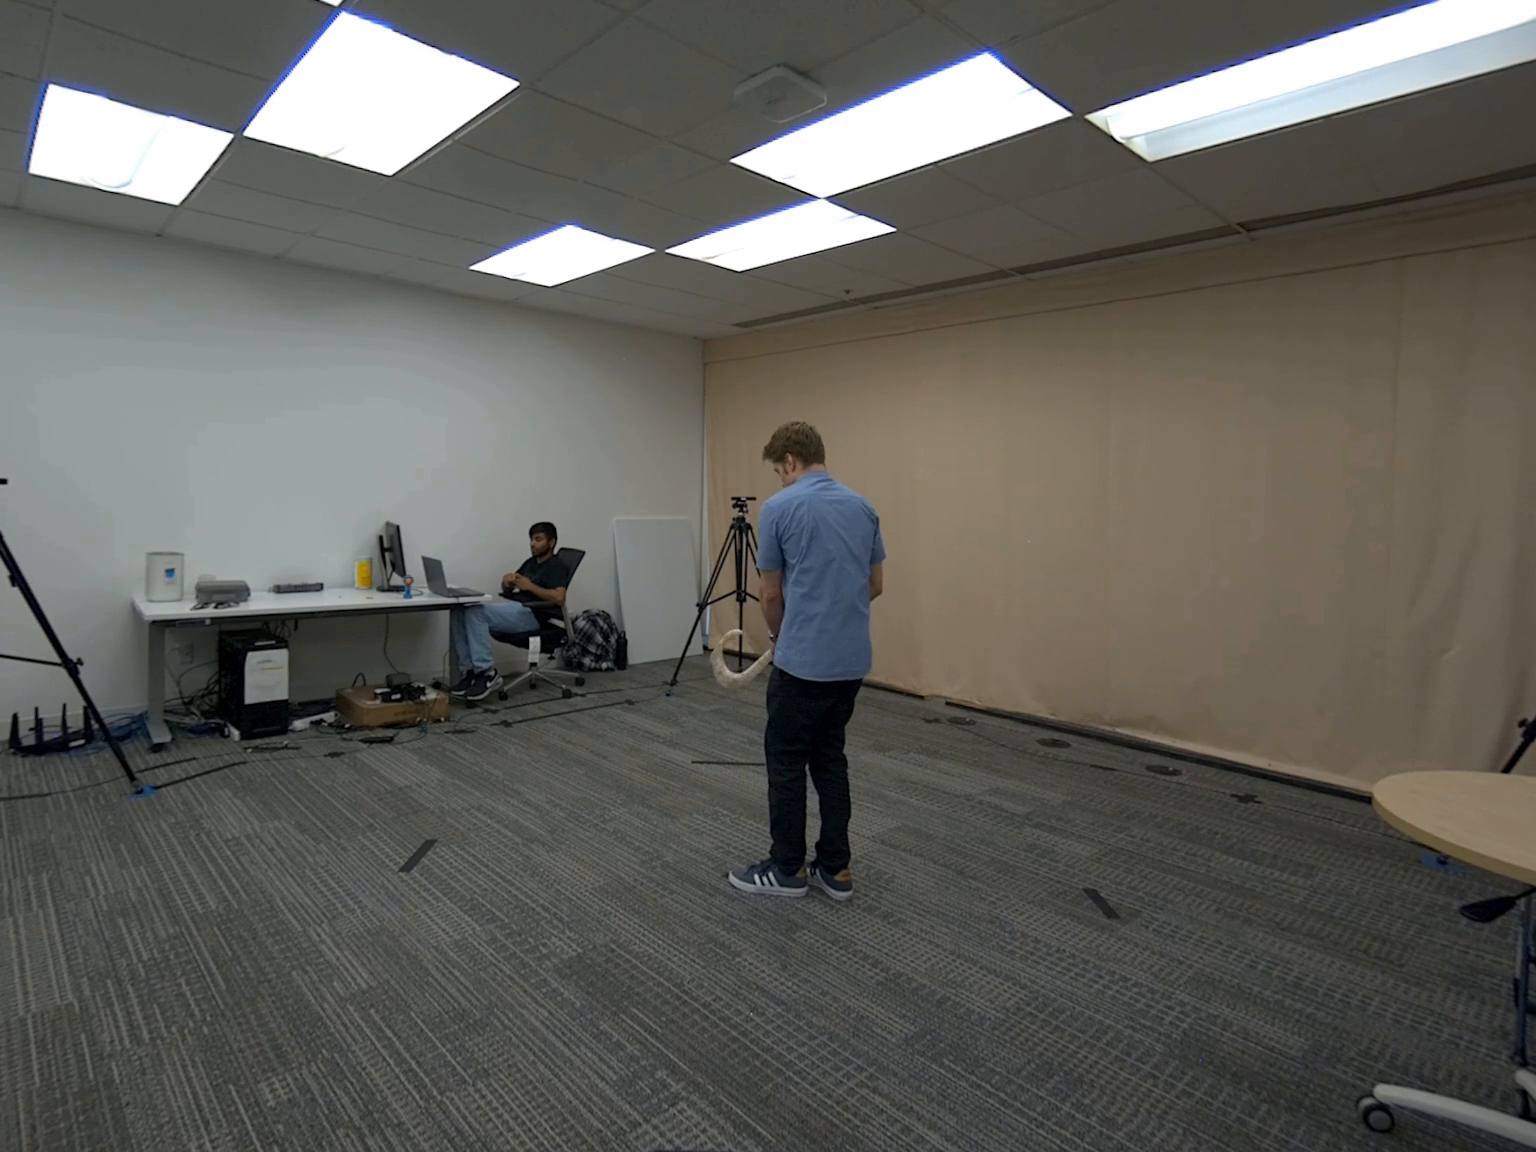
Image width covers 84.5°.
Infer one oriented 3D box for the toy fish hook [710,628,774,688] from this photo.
[{"bbox_3d":[-0.041,0.275,3.316,0.511,0.228,0.047,-29,-19,31],"label":"toy fish hook"}]
